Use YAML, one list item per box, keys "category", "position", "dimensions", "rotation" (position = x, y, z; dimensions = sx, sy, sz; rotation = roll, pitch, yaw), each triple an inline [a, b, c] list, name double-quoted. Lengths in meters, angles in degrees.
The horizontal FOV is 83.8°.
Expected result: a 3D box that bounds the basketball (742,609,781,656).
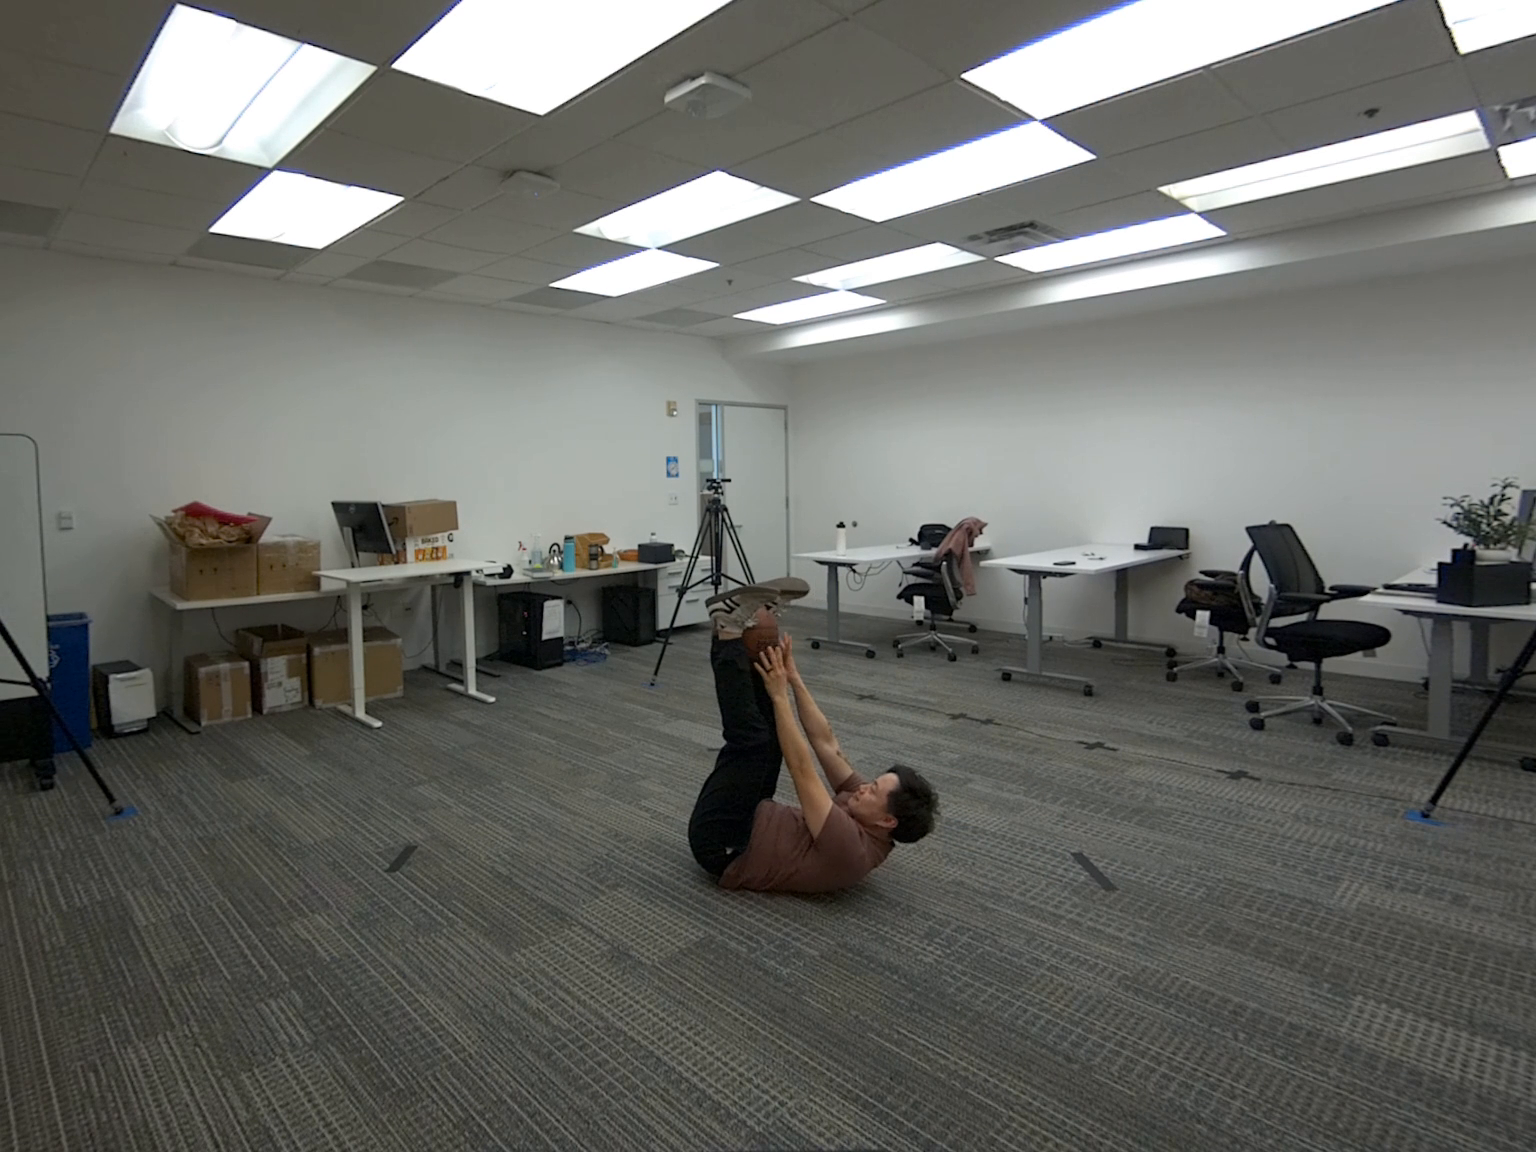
- category: "basketball"
  position: [-0.090, 0.208, 3.002]
  dimensions: [0.236, 0.236, 0.236]
  rotation: [0, 1, -2]
